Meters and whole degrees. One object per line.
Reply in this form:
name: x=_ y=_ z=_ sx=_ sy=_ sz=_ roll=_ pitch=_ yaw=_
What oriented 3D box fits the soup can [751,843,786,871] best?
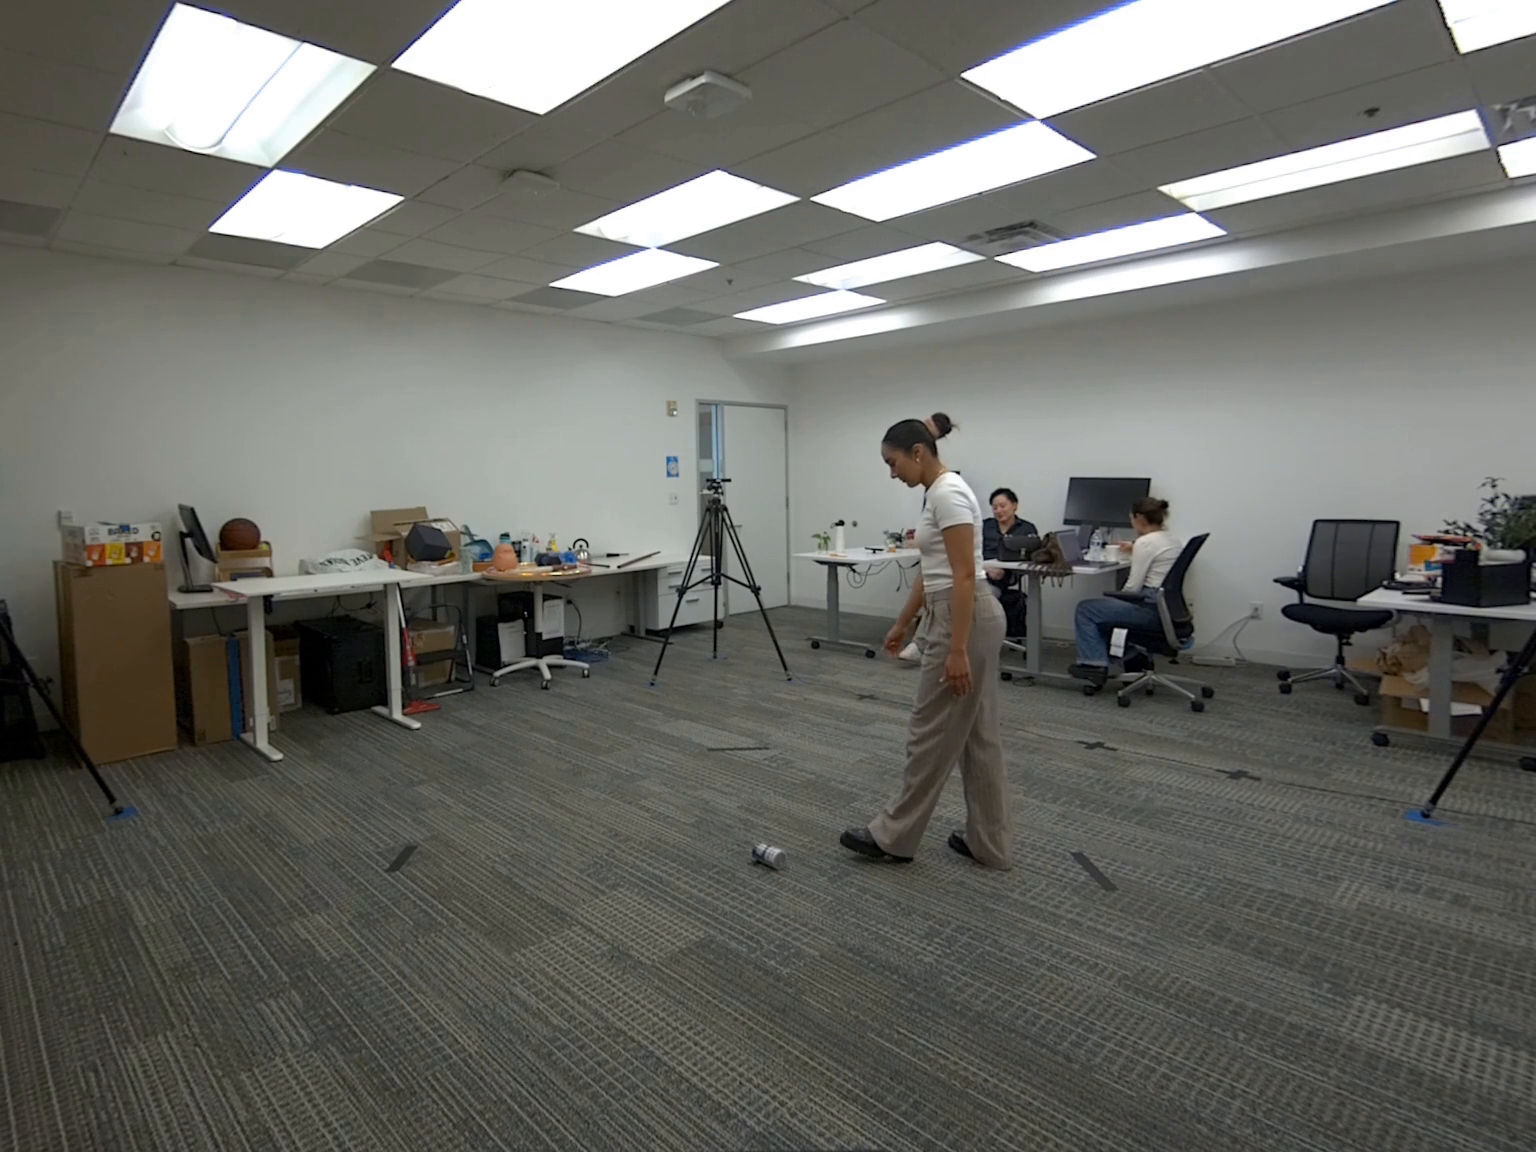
soup can: x=0.008 y=1.002 z=3.094 sx=0.065 sy=0.067 sz=0.125 roll=-5 pitch=3 yaw=-41
